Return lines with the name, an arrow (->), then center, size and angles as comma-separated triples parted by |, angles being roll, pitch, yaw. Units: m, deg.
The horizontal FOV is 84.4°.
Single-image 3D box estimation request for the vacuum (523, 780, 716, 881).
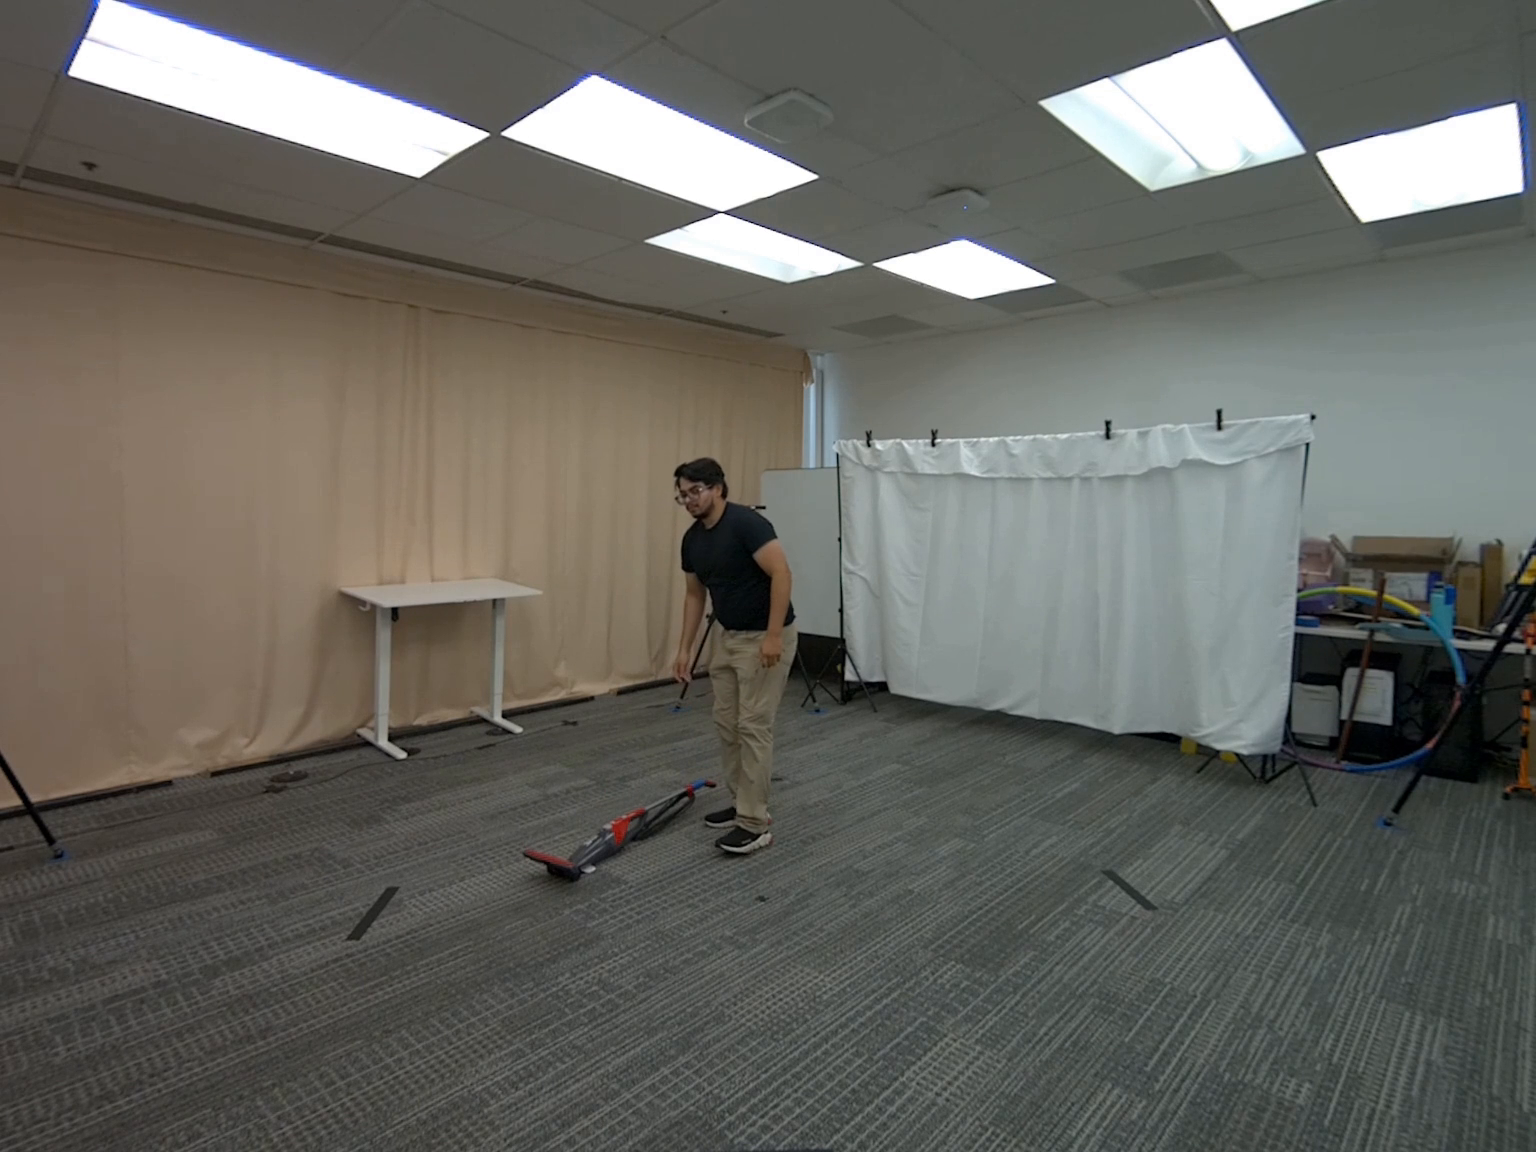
vacuum -> -0.534, 1.046, 3.559 | 0.260, 0.143, 1.021 | 5, 7, 31
